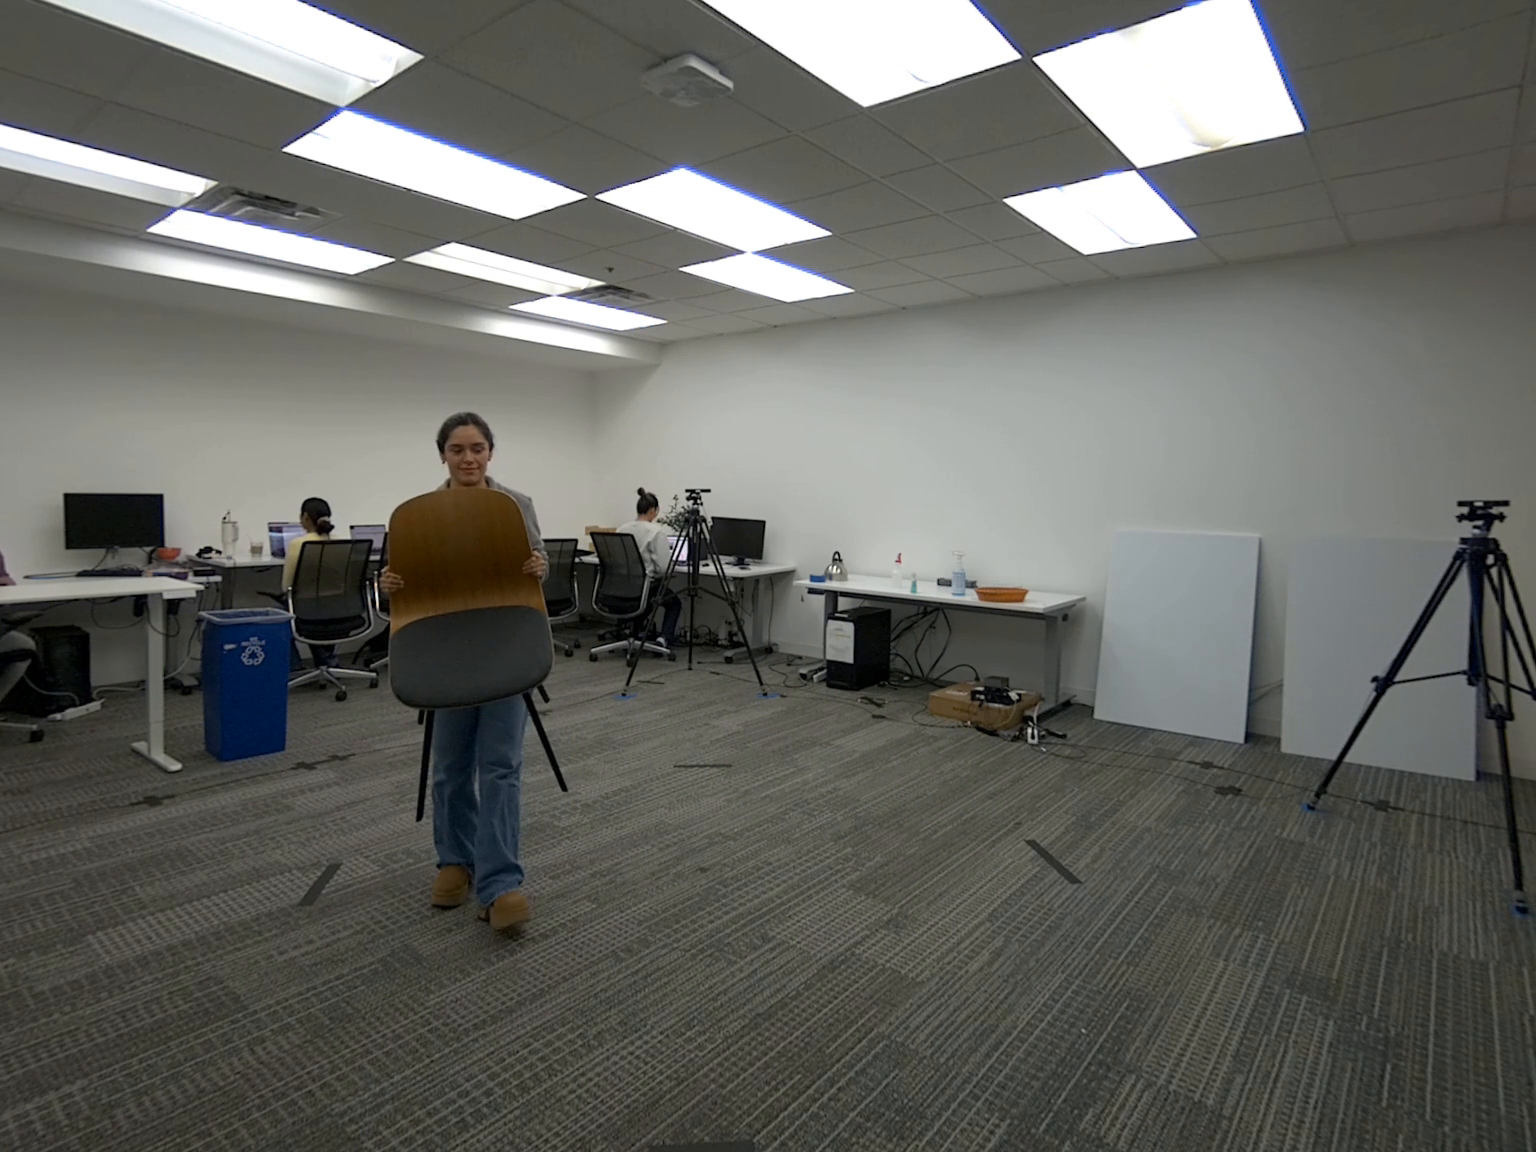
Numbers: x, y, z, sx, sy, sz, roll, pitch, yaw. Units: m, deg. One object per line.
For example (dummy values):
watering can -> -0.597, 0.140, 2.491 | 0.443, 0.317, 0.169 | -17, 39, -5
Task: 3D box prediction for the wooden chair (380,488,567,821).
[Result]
wooden chair -> -0.898, 0.233, 2.577 | 0.471, 0.858, 0.542 | -6, 27, -16
